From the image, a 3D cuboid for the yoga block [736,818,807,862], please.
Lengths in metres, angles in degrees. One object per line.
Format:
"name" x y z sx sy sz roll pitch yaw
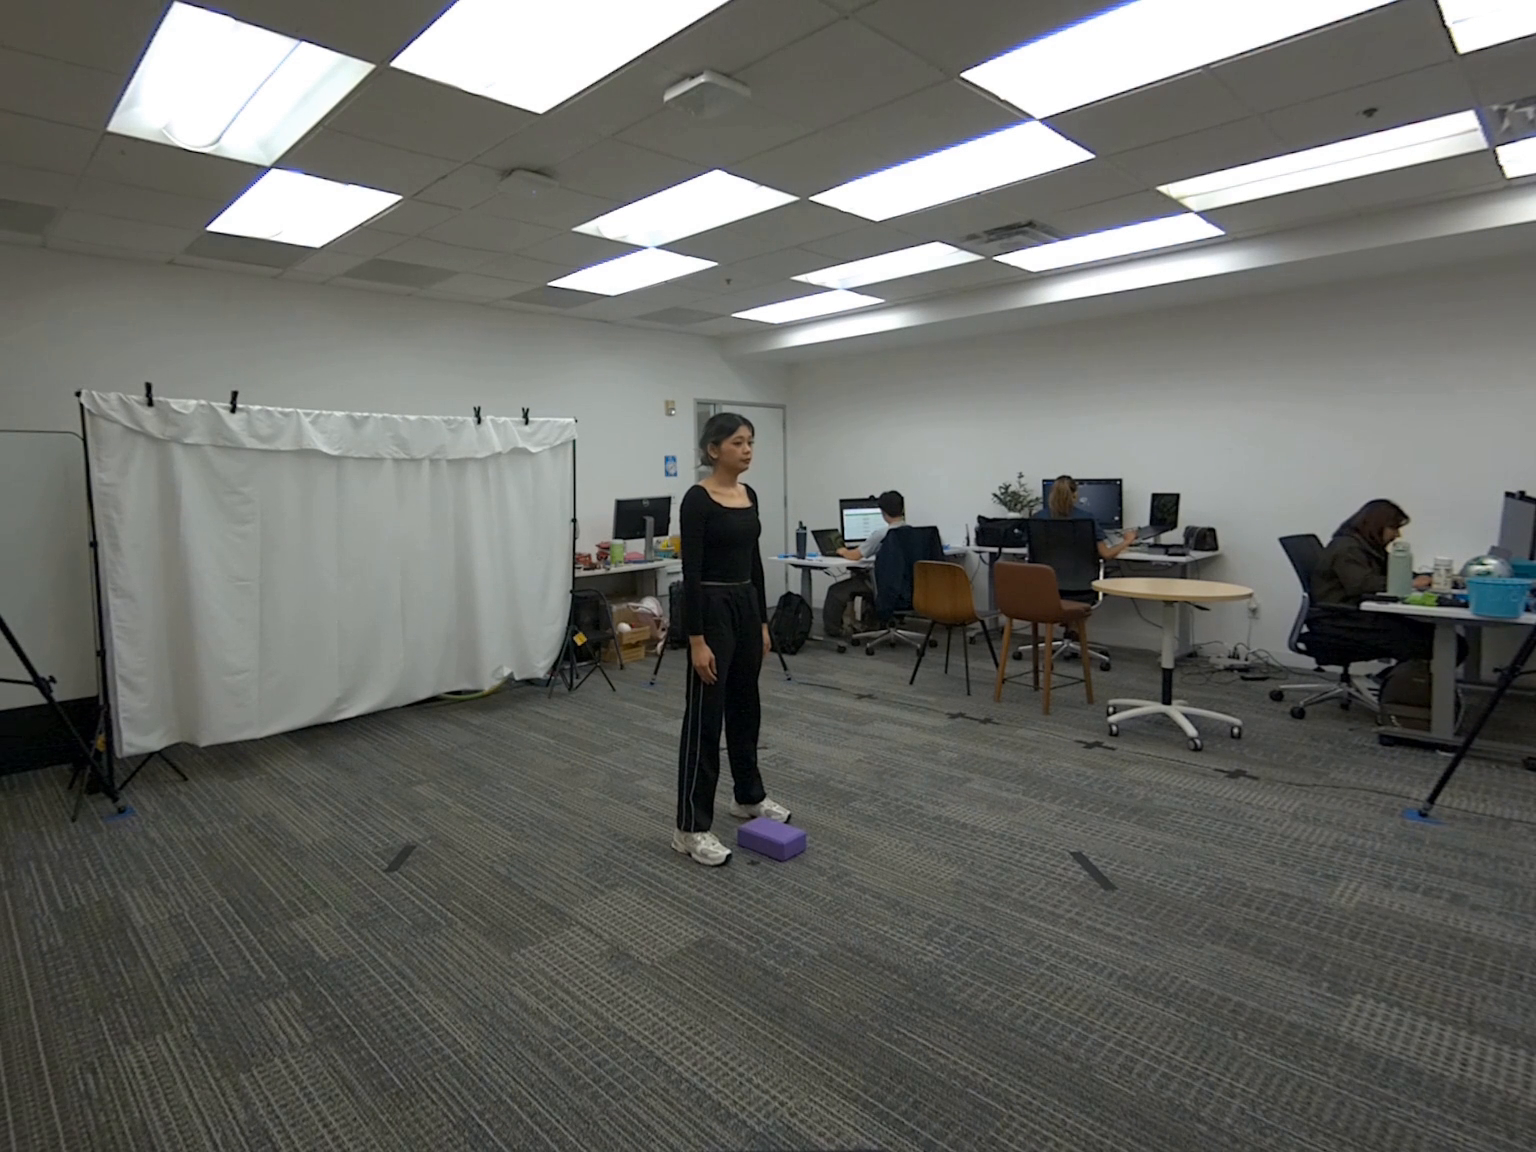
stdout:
"yoga block" 0.014 0.985 3.223 0.236 0.076 0.145 6 7 40
